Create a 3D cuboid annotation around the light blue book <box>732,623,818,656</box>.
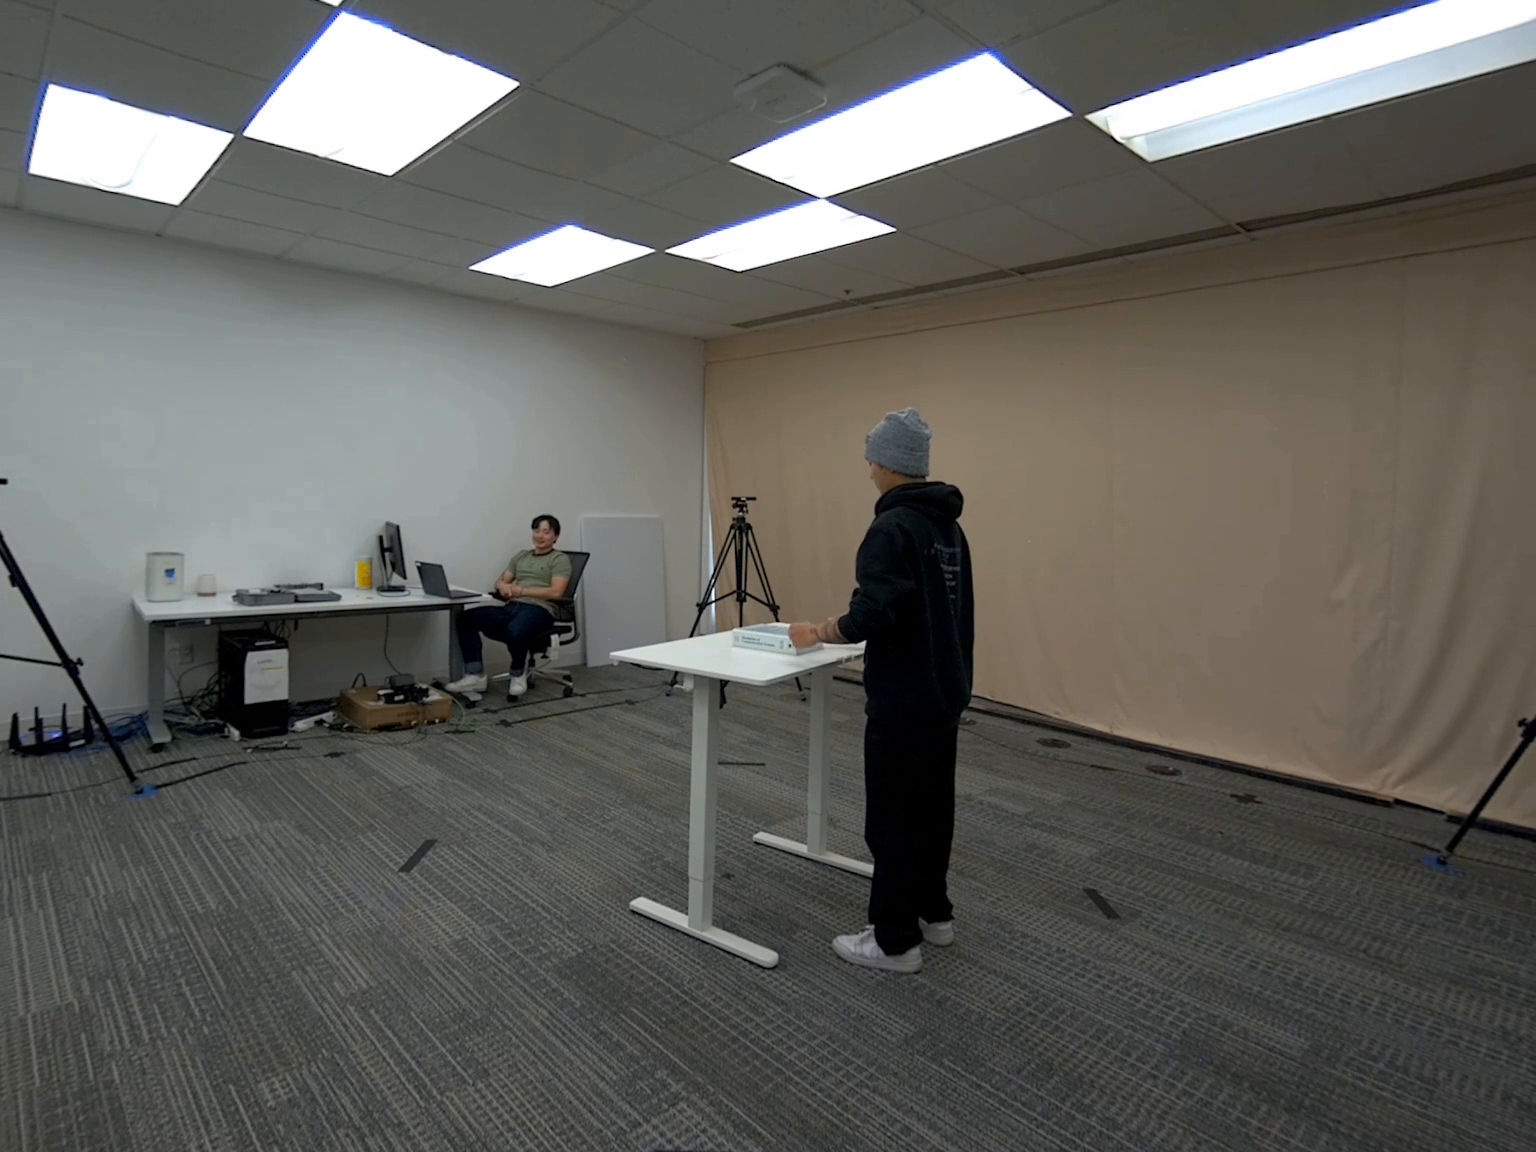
[{"bbox_3d":[0.039,0.221,2.905,0.267,0.059,0.187,4,6,35],"label":"light blue book"}]
